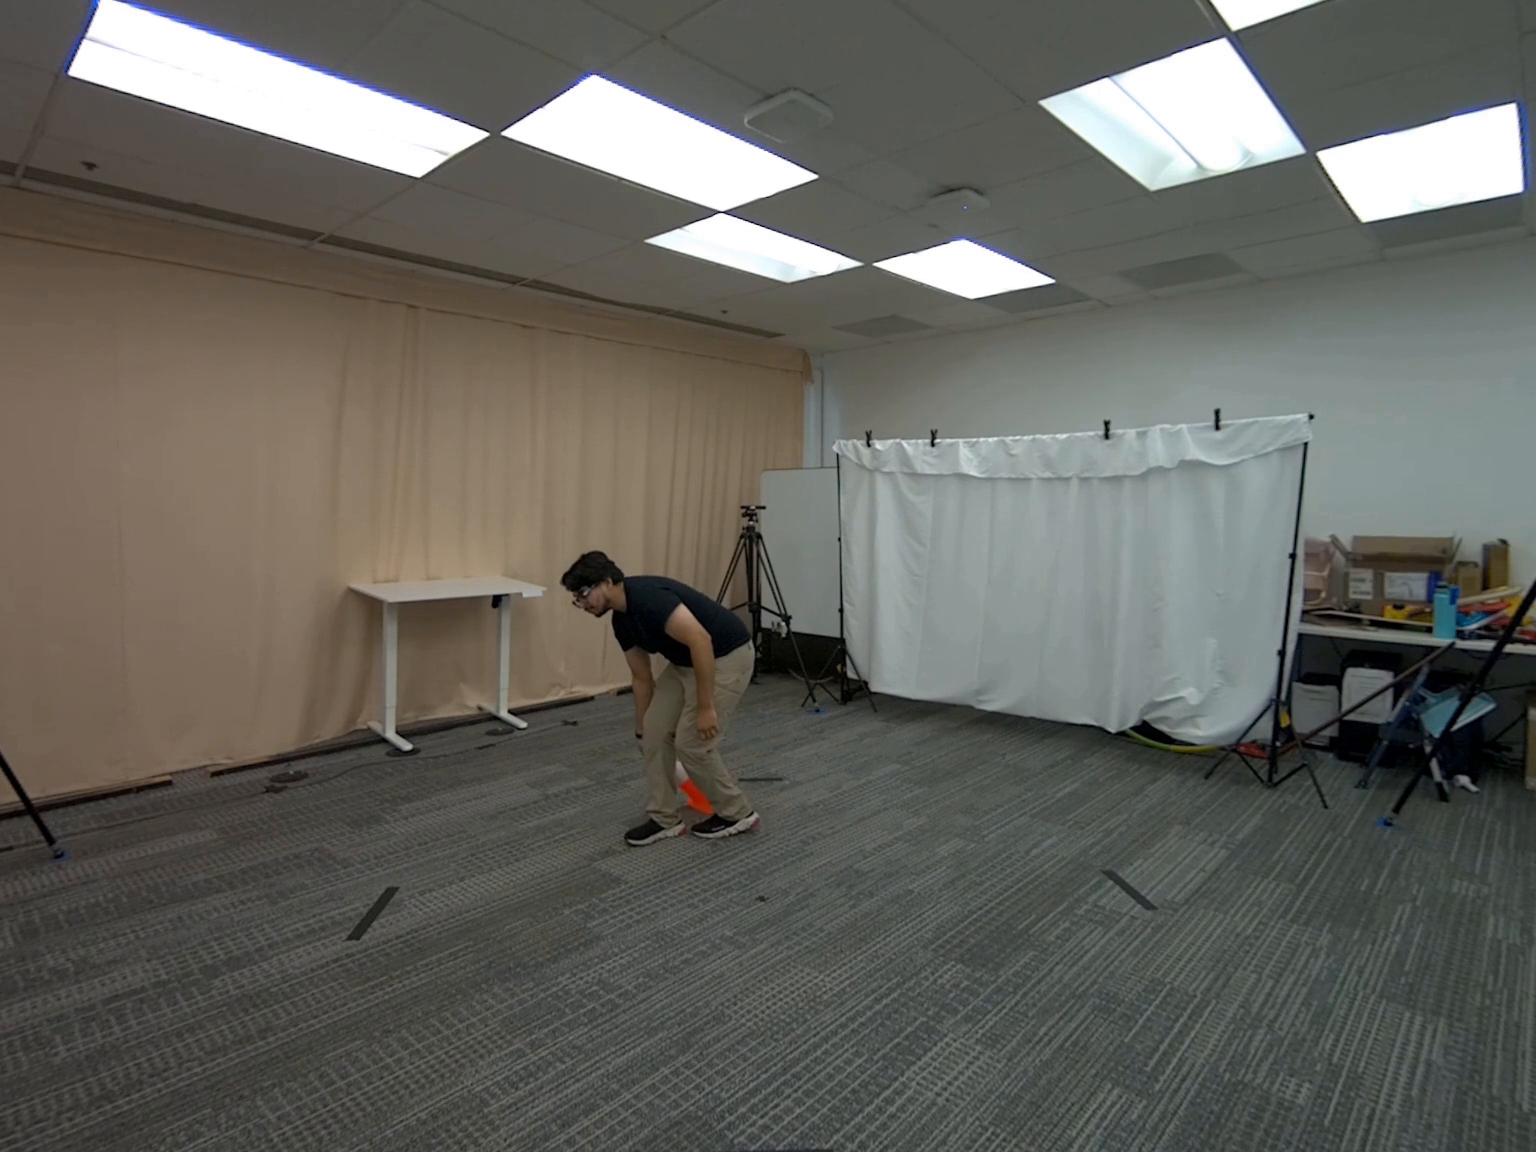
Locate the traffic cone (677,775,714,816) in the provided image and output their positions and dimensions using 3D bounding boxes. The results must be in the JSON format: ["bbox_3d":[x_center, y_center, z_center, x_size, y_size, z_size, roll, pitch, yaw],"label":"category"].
[{"bbox_3d":[-0.399,0.889,3.813,0.372,0.205,0.210,41,-18,-29],"label":"traffic cone"}]
